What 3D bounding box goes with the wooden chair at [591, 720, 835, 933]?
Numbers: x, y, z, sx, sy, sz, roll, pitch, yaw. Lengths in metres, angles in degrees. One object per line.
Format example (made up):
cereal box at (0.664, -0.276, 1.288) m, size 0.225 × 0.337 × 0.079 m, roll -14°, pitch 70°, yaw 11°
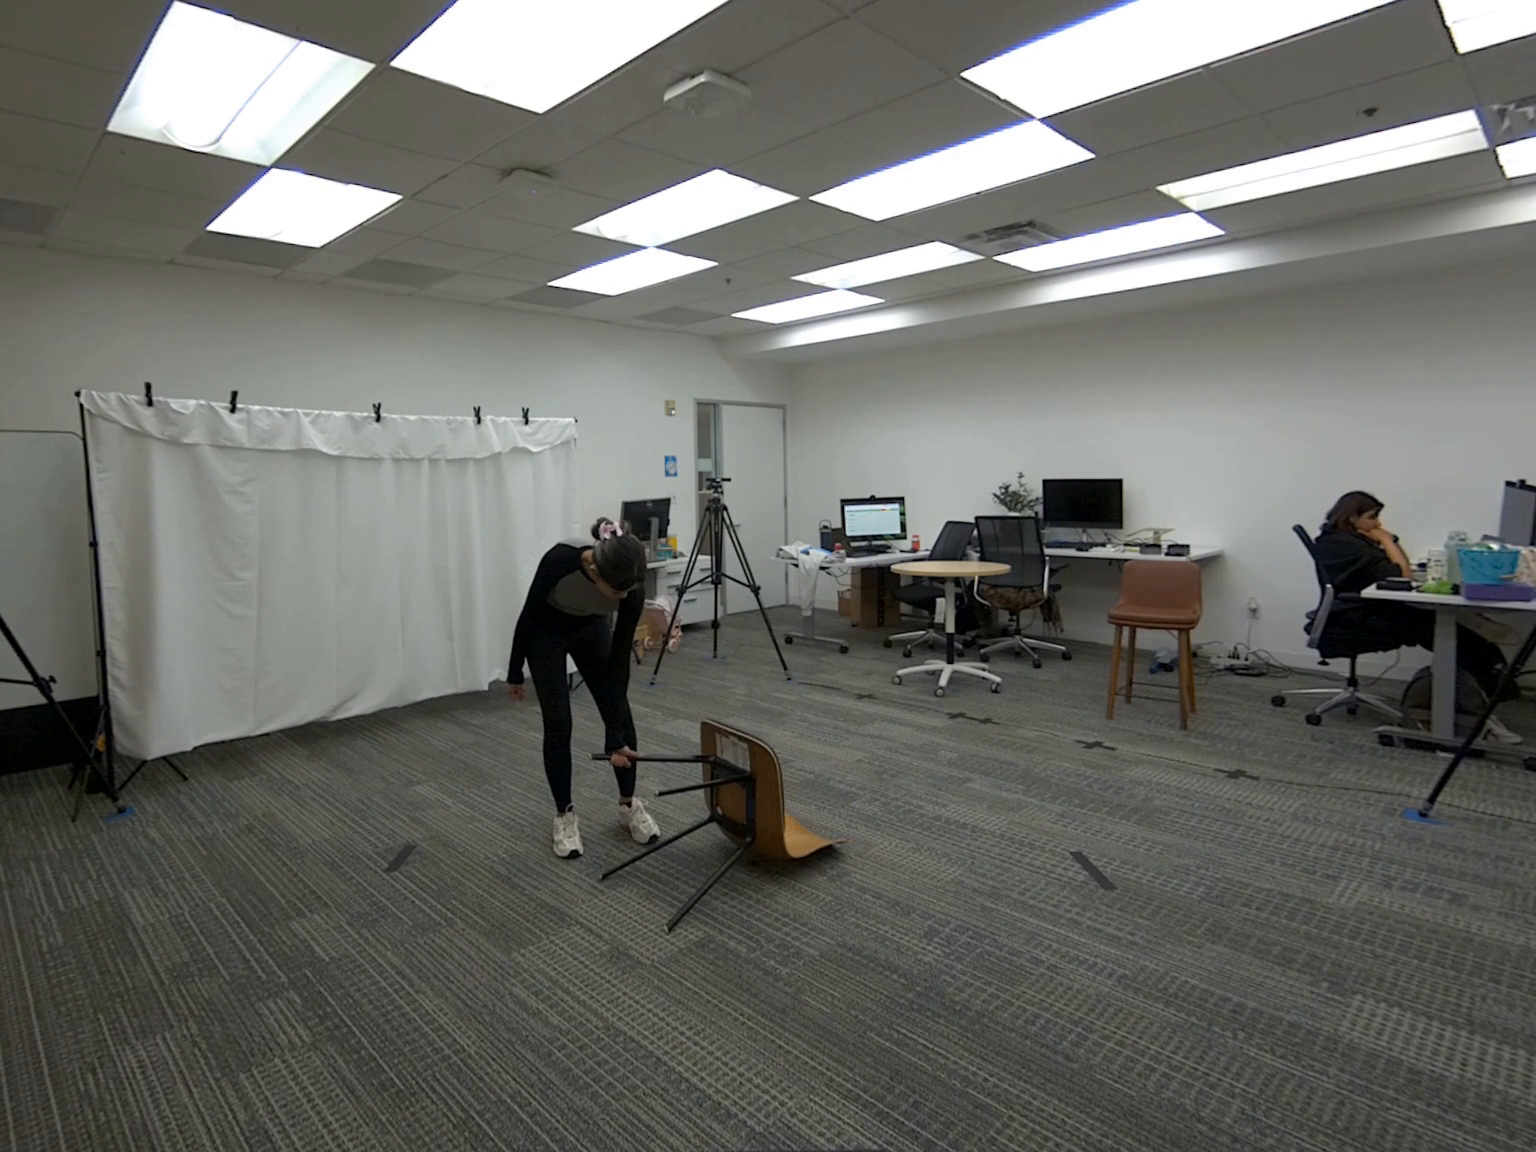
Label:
wooden chair at (-0.132, 0.794, 3.037) m, size 0.855 × 0.521 × 0.492 m, roll -4°, pitch 6°, yaw -37°
